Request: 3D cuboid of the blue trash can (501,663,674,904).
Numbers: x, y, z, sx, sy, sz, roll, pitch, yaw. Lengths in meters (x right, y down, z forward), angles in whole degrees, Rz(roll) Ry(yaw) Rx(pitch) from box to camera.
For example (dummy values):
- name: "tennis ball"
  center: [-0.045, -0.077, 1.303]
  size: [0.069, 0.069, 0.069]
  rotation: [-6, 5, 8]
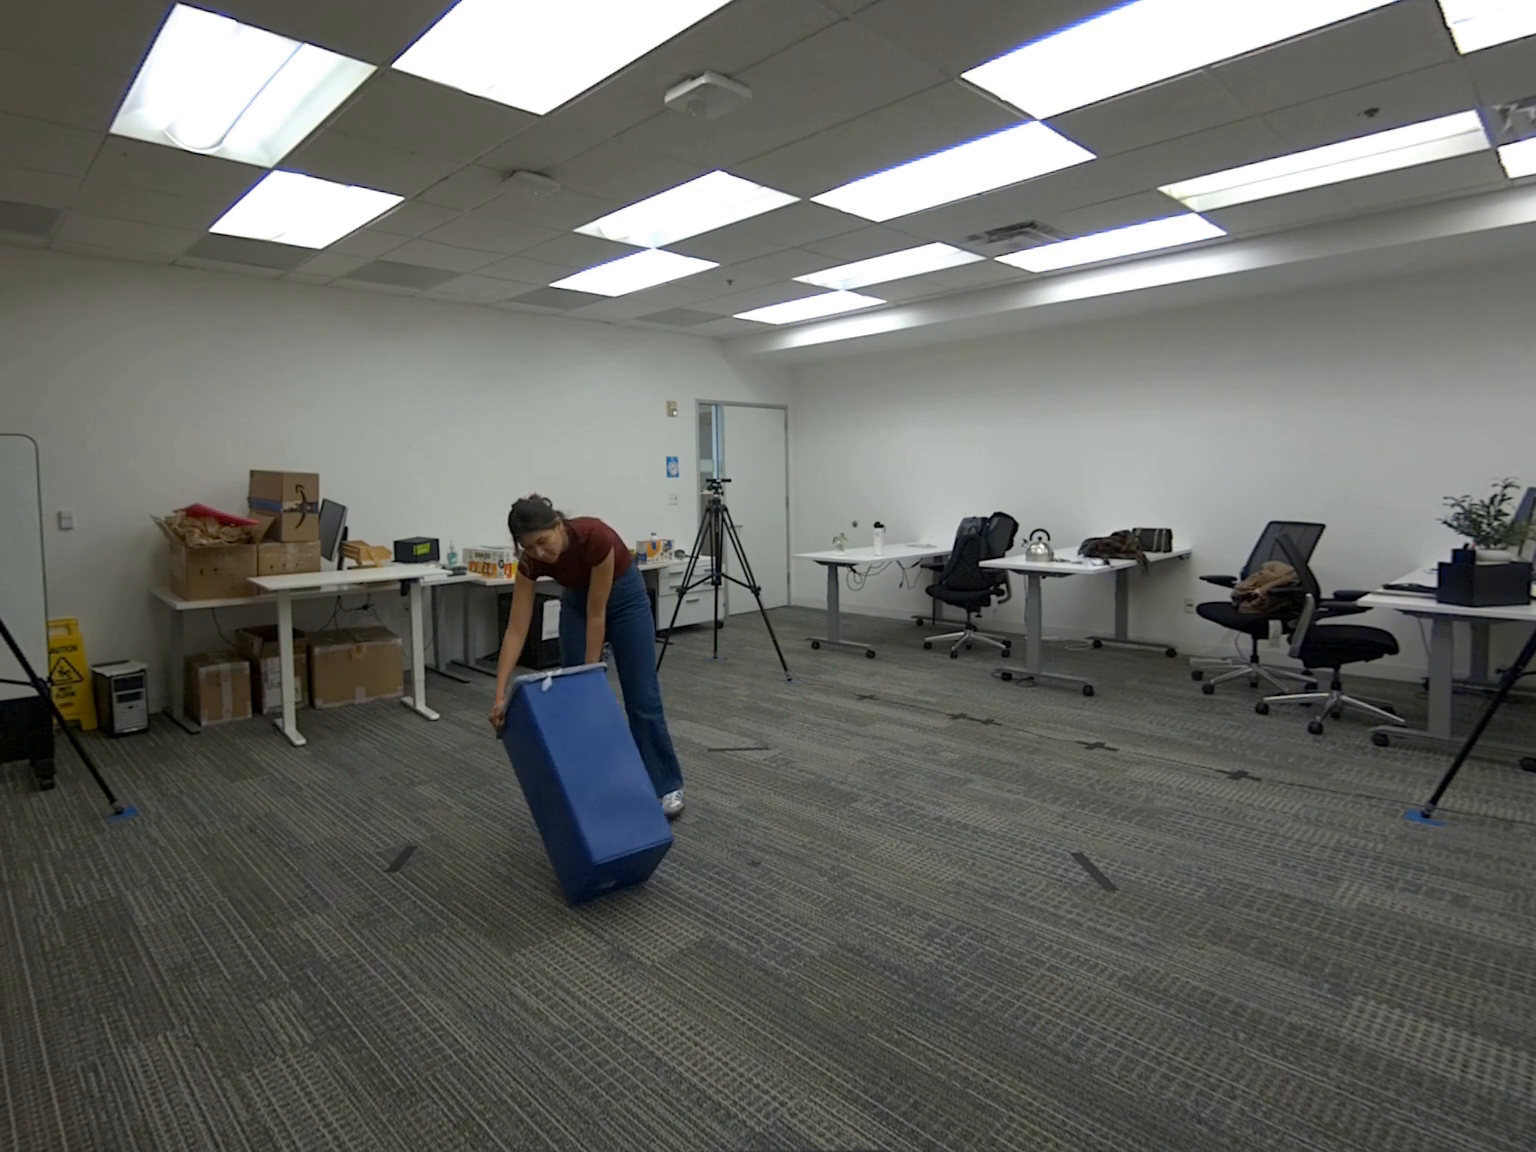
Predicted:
- name: "blue trash can"
  center: [-0.653, 0.721, 3.012]
  size: [0.368, 0.370, 0.739]
  rotation: [-4, 49, -36]
